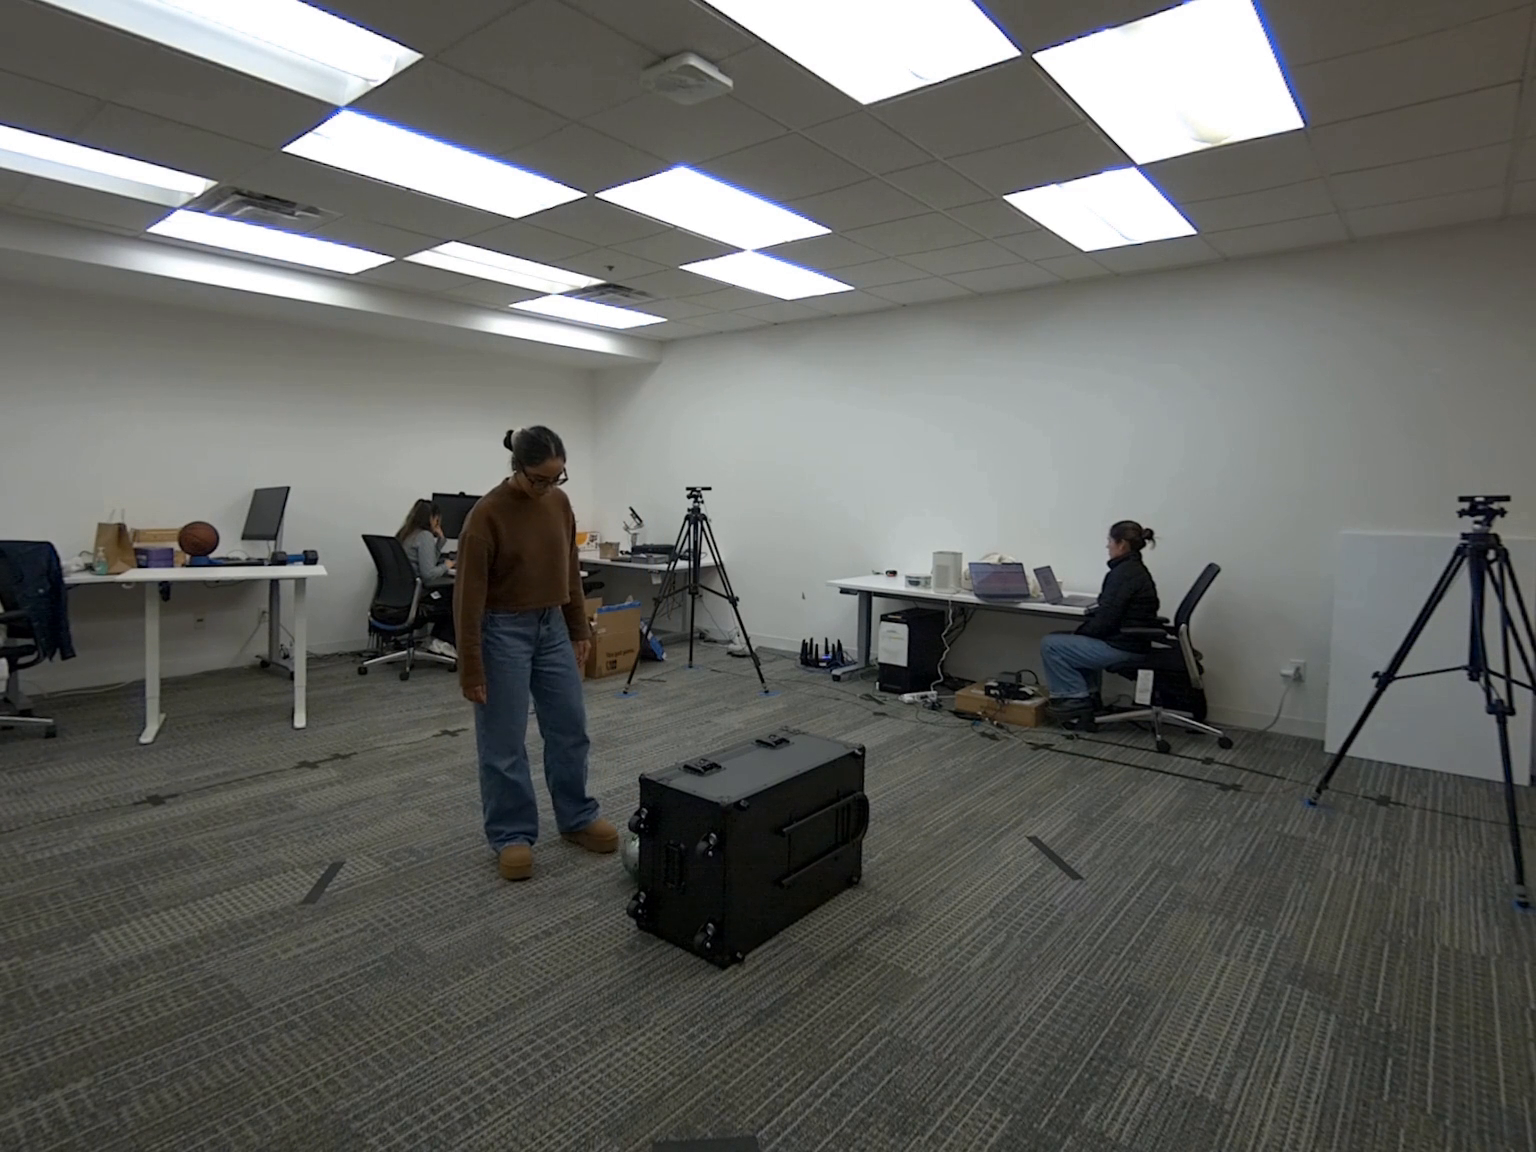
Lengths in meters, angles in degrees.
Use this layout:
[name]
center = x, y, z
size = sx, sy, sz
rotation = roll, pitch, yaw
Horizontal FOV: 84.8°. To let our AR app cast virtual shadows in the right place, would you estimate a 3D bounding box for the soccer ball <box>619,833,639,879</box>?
[soccer ball]
center = -0.419, 0.963, 3.011
size = 0.187, 0.187, 0.188
rotation = 1, 4, -2
